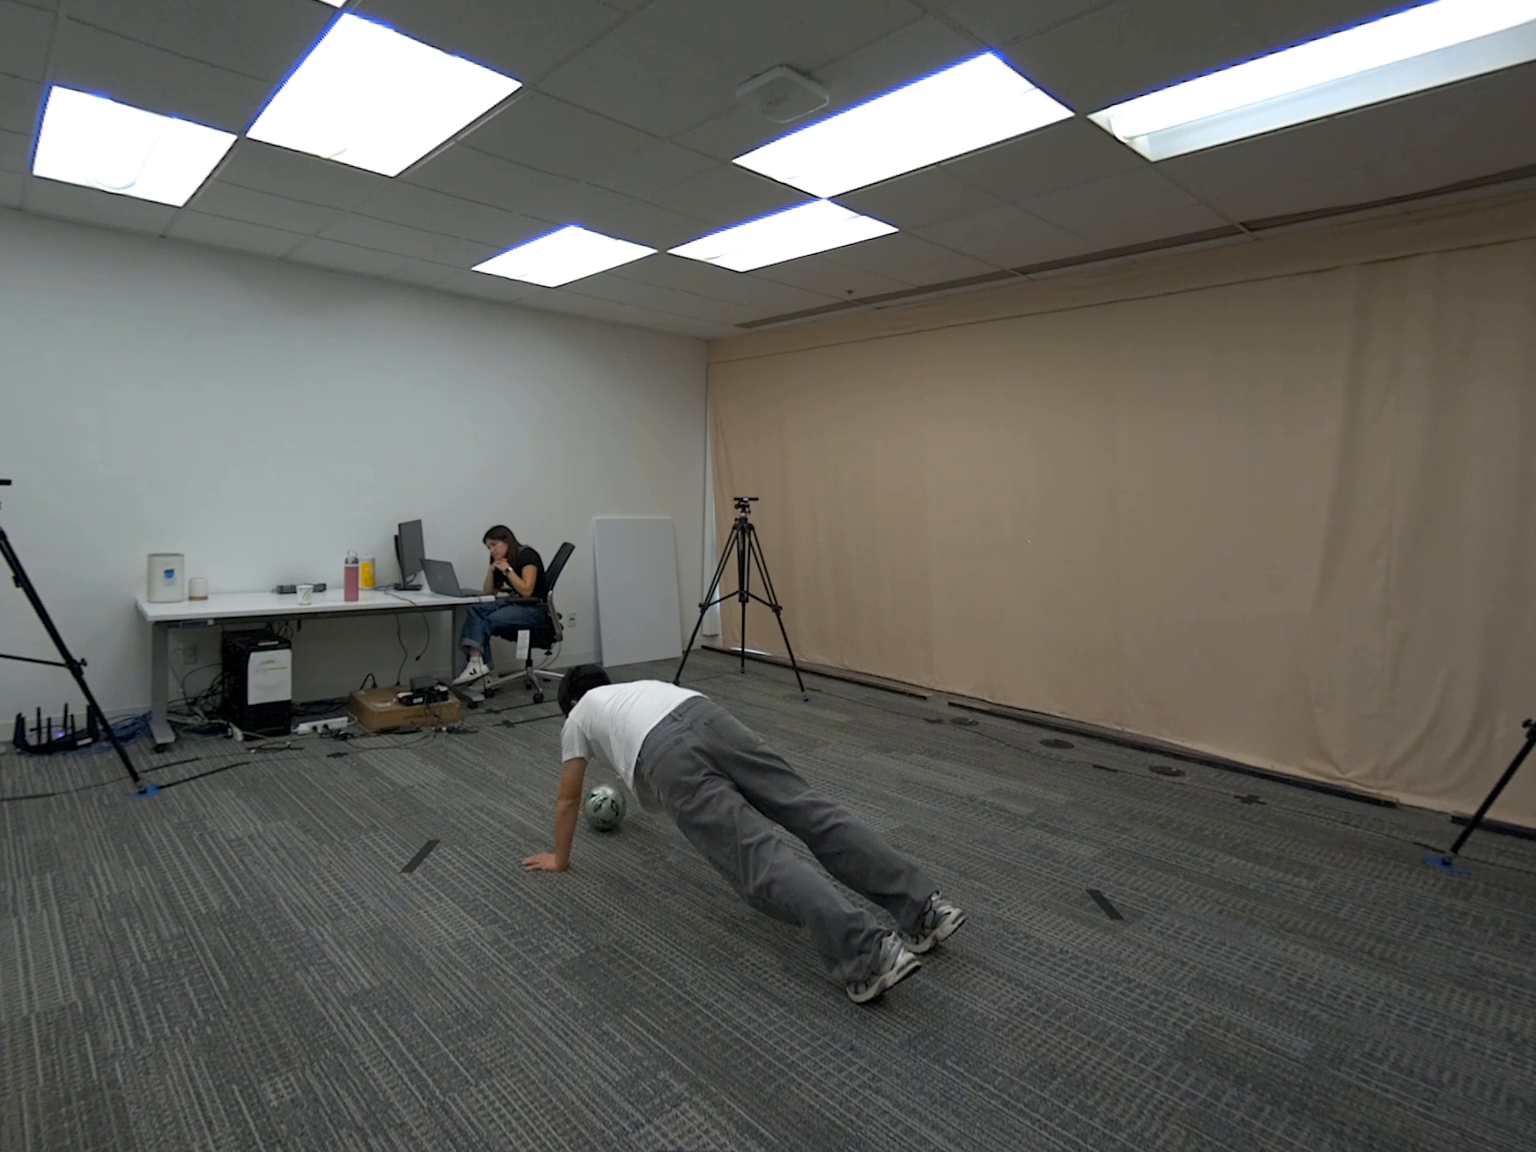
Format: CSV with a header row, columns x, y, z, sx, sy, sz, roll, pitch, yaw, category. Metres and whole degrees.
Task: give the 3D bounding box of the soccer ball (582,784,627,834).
x,y,z,sx,sy,sz,roll,pitch,yaw,category
-0.691,0.969,3.515,0.187,0.187,0.188,1,4,-1,soccer ball
